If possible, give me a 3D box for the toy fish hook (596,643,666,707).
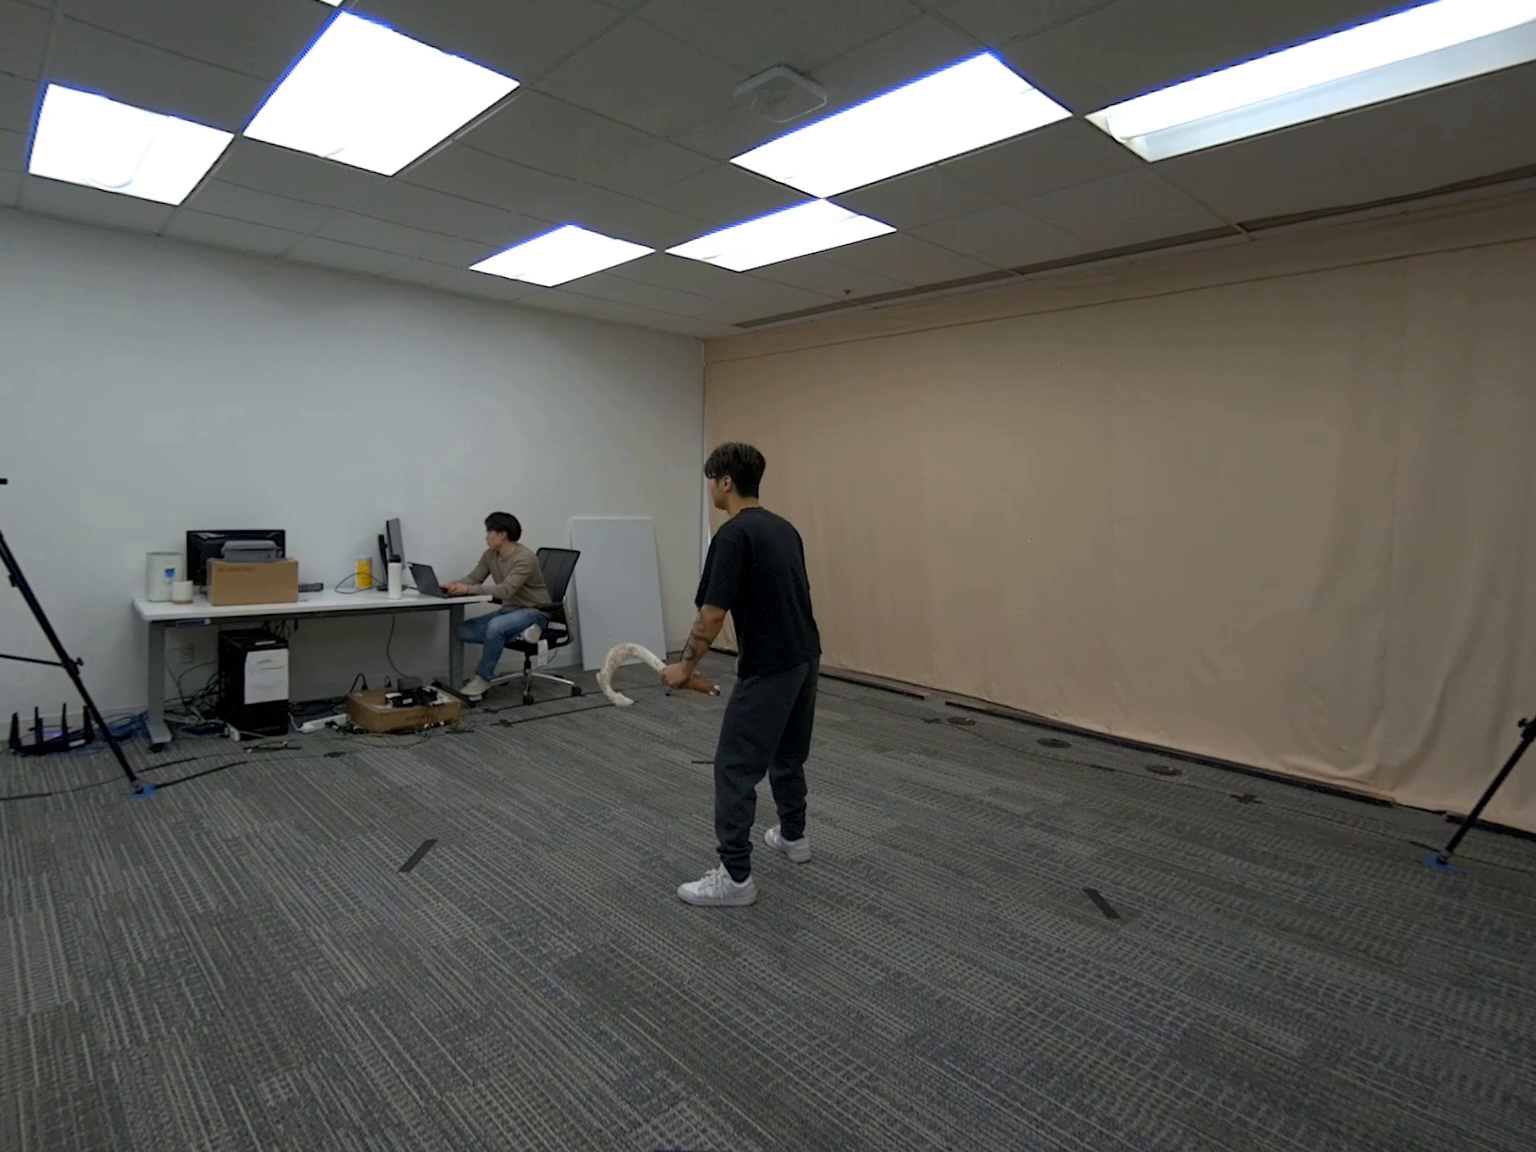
[{"bbox_3d":[-0.384,0.362,2.985,0.519,0.225,0.047,14,-12,31],"label":"toy fish hook"}]
